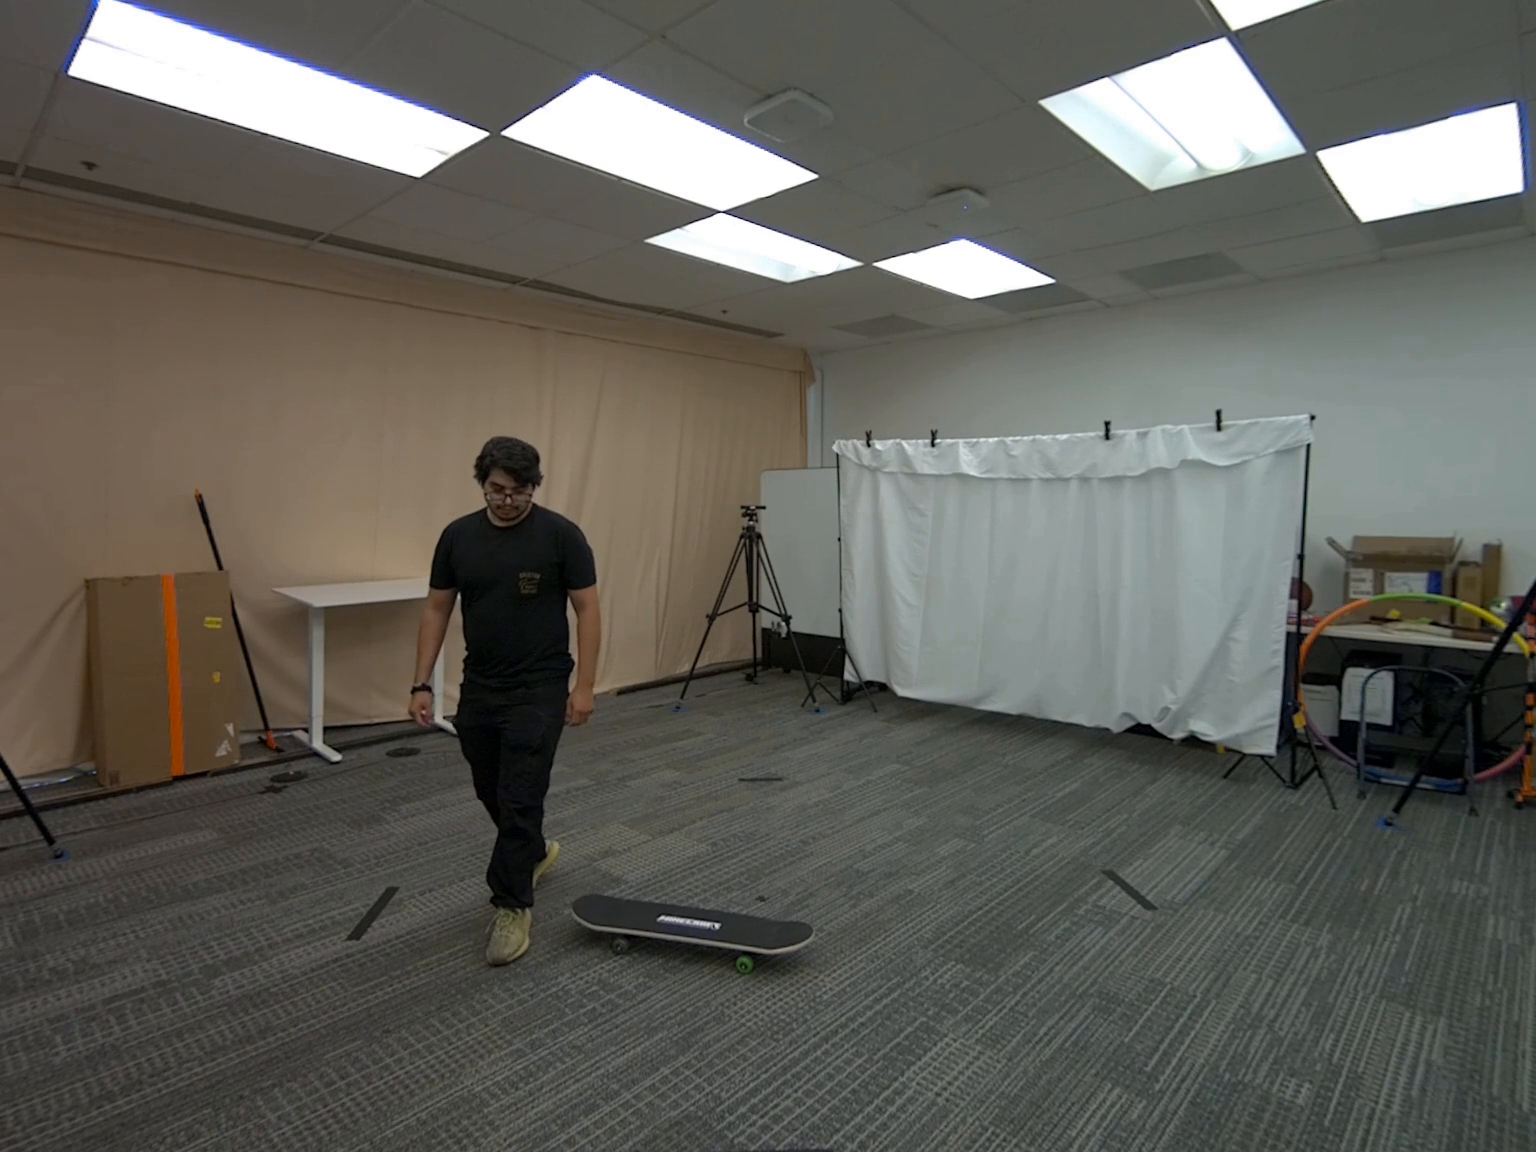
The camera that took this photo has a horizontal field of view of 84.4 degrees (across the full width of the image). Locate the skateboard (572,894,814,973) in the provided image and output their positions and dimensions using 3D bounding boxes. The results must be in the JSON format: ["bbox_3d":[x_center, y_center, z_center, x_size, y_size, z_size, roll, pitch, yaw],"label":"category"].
[{"bbox_3d":[-0.238,1.116,2.631,0.798,0.110,0.191,0,4,15],"label":"skateboard"}]
